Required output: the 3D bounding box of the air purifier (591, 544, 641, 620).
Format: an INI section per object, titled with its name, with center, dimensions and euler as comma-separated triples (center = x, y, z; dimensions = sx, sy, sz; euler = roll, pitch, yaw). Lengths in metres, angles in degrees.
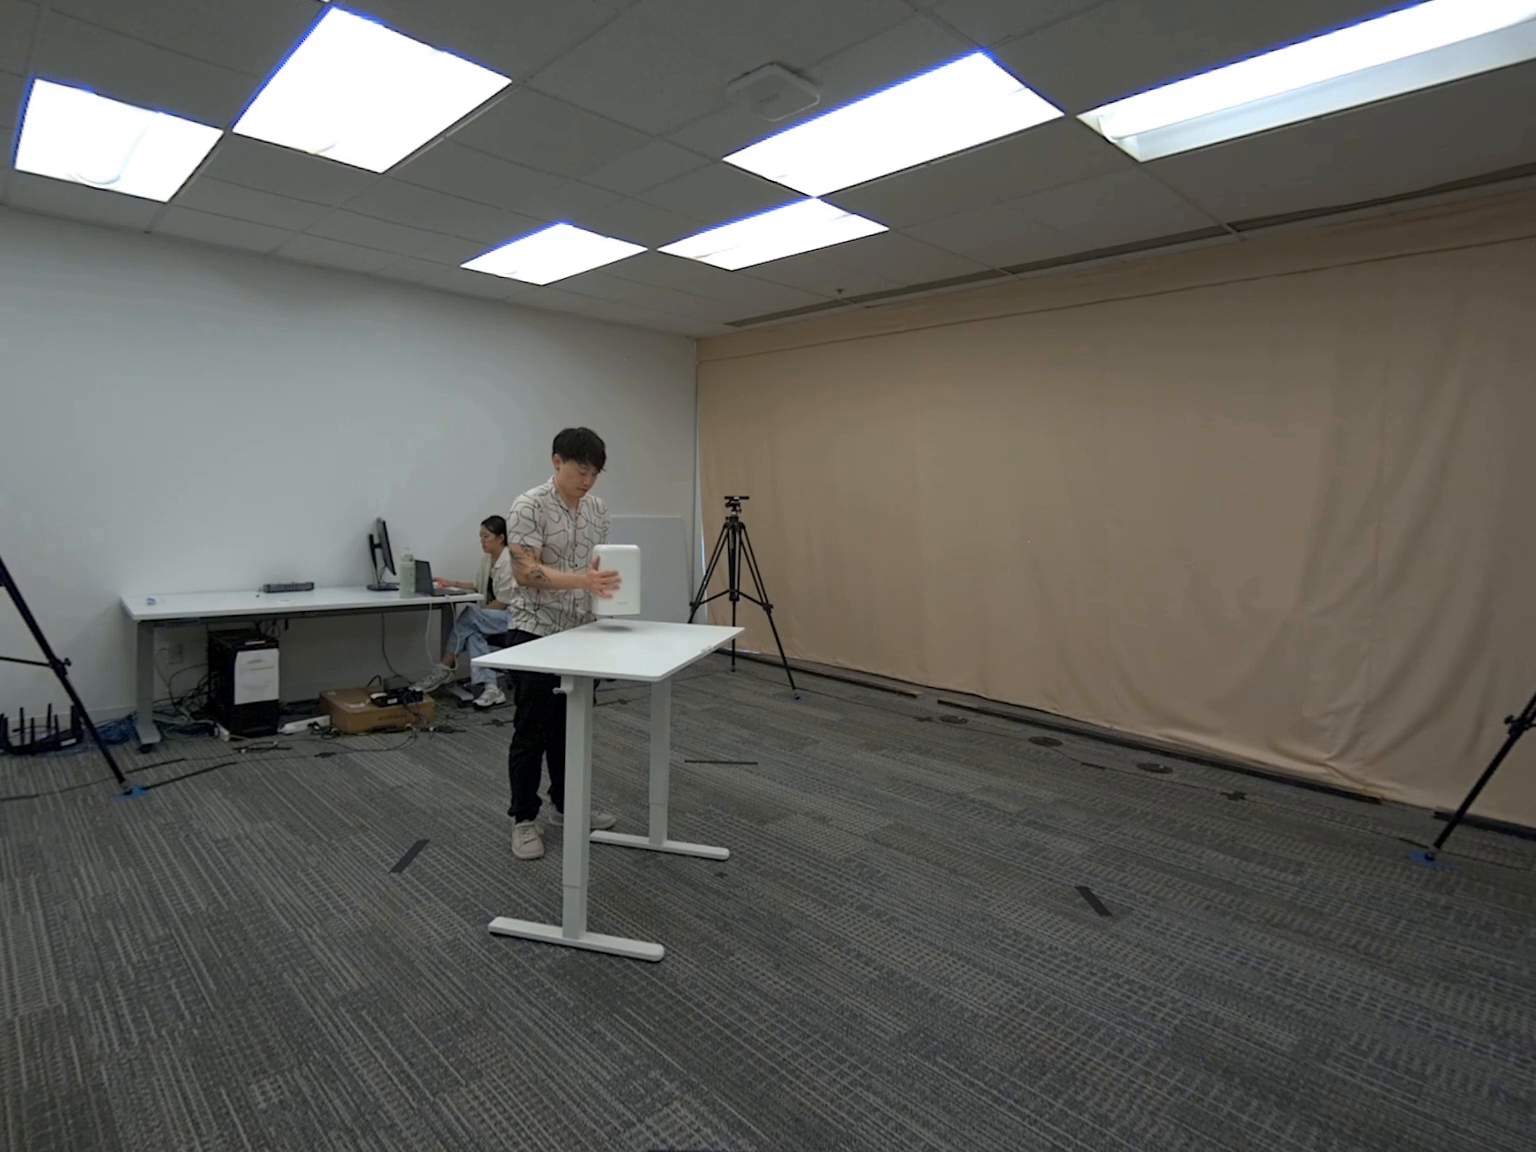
[air purifier]
center = -0.596, 0.012, 3.196
dimensions = 0.169, 0.265, 0.174
euler = 1, 1, -16
